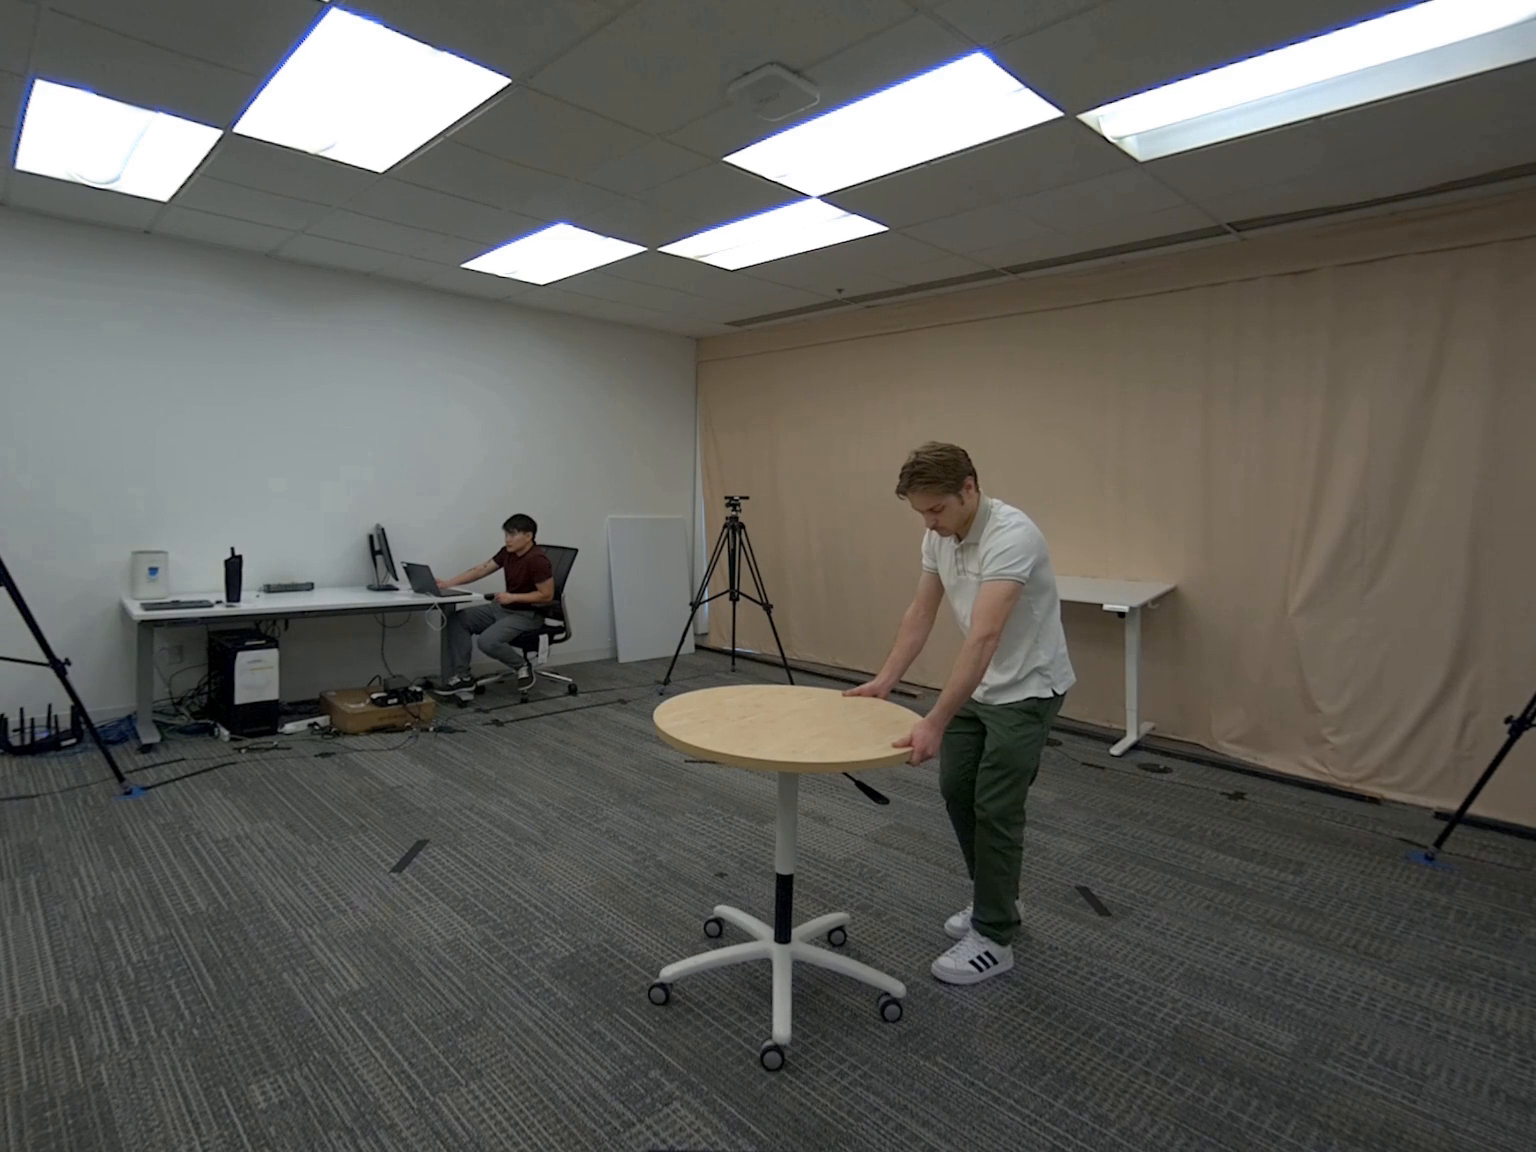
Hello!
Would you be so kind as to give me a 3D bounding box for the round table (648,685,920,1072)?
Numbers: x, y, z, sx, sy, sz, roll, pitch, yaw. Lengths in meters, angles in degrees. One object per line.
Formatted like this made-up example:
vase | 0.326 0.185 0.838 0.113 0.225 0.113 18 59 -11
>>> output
round table | 0.048 0.781 2.383 0.784 0.784 0.788 2 5 -2
